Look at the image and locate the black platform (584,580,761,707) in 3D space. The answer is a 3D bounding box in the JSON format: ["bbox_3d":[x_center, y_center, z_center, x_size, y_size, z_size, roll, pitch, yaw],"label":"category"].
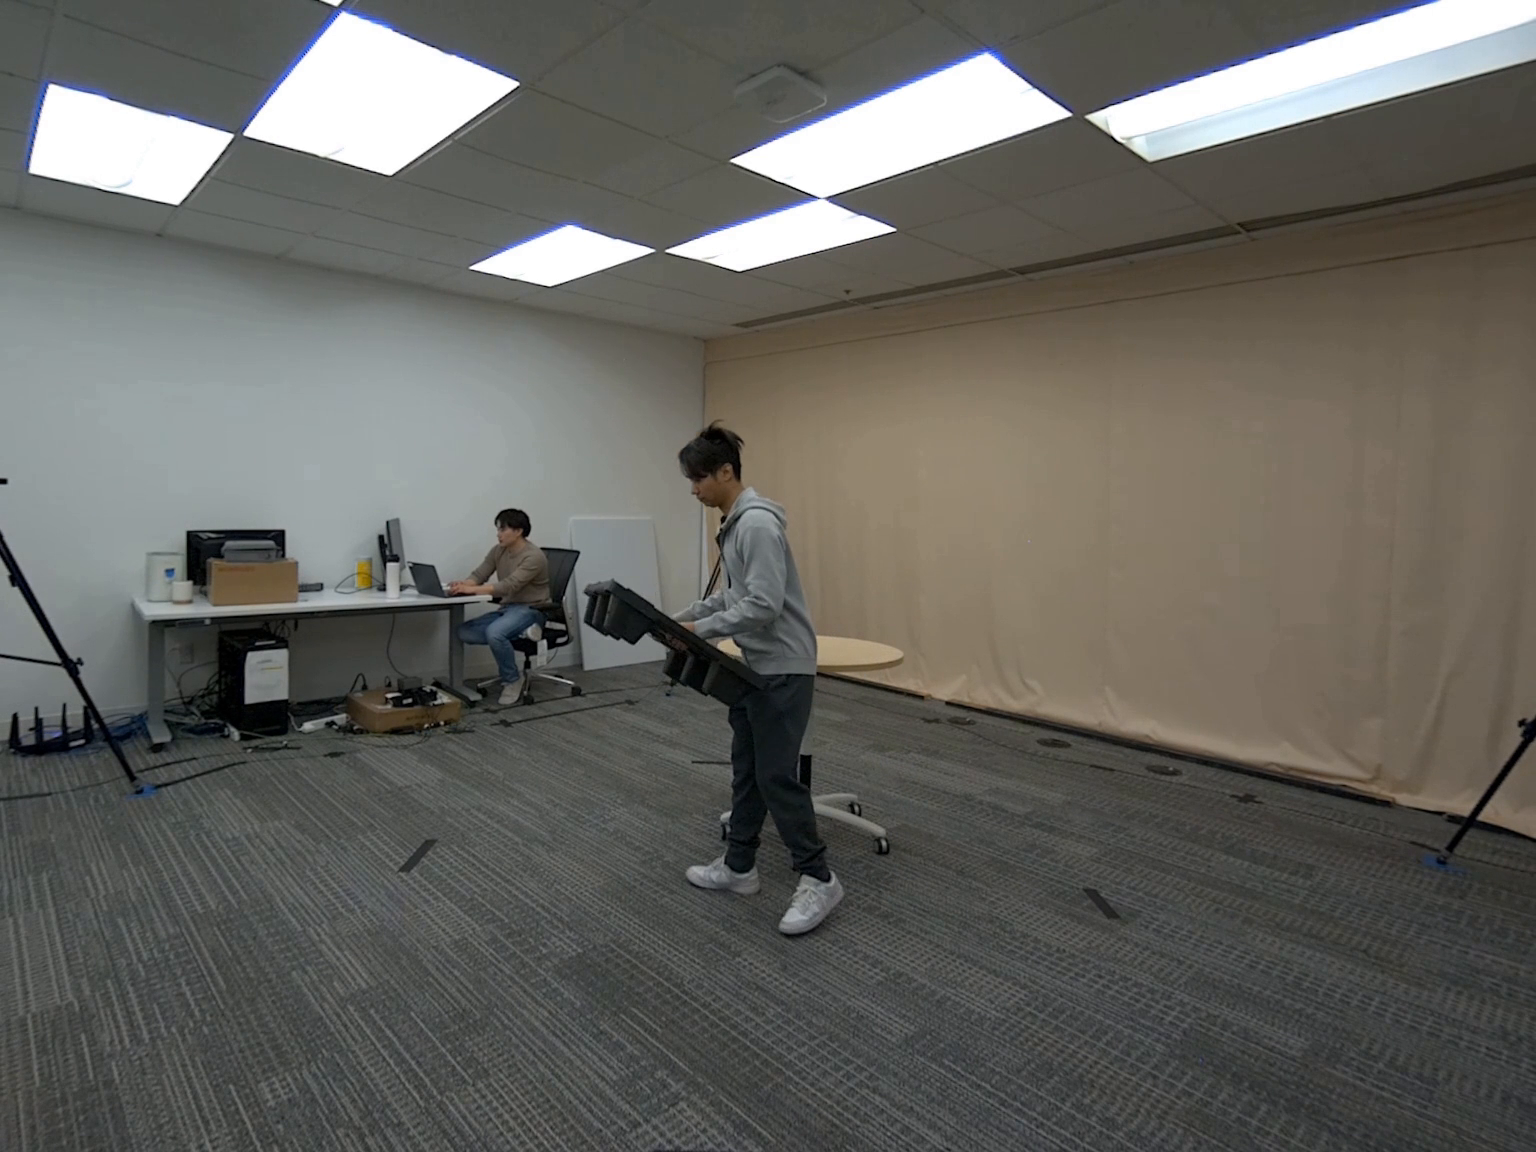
[{"bbox_3d":[-0.384,0.239,2.948,0.598,0.143,0.814,36,-12,-13],"label":"black platform"}]
